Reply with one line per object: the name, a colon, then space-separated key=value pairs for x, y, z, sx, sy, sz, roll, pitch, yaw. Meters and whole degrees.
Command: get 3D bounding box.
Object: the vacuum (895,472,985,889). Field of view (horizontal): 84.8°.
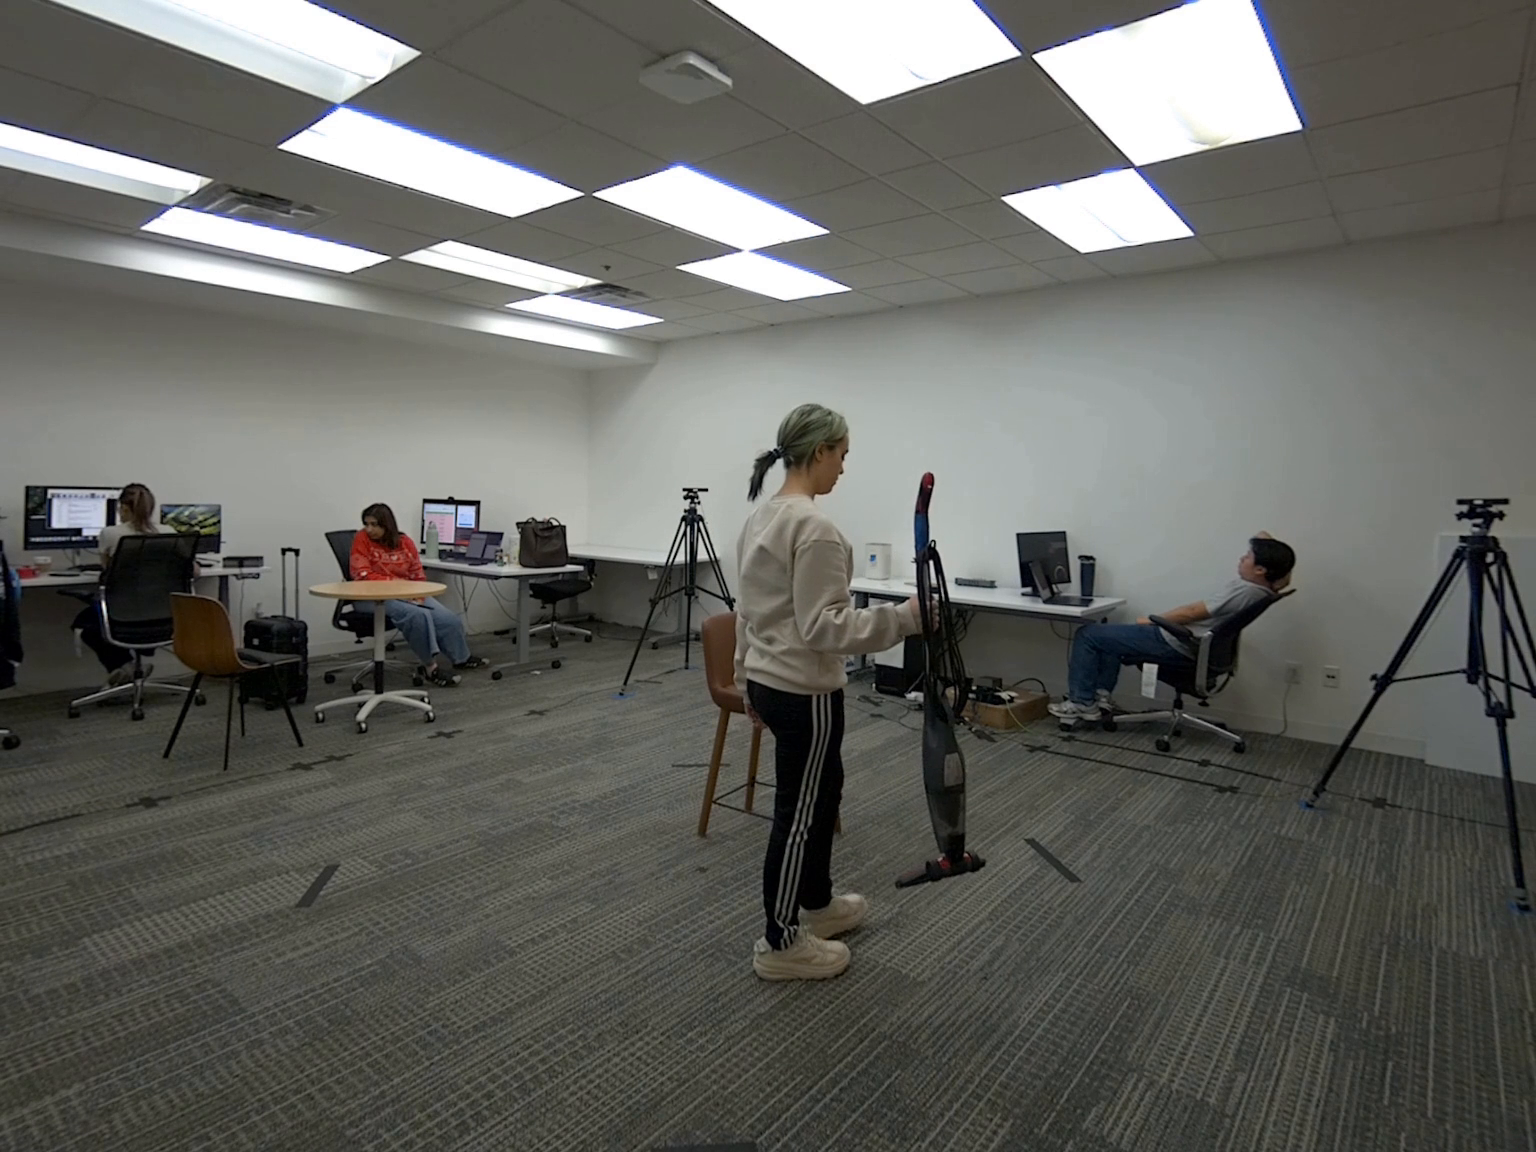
vacuum: x=0.423 y=0.268 z=2.126 sx=0.248 sy=1.037 sz=0.148 roll=-8 pitch=12 yaw=-23
